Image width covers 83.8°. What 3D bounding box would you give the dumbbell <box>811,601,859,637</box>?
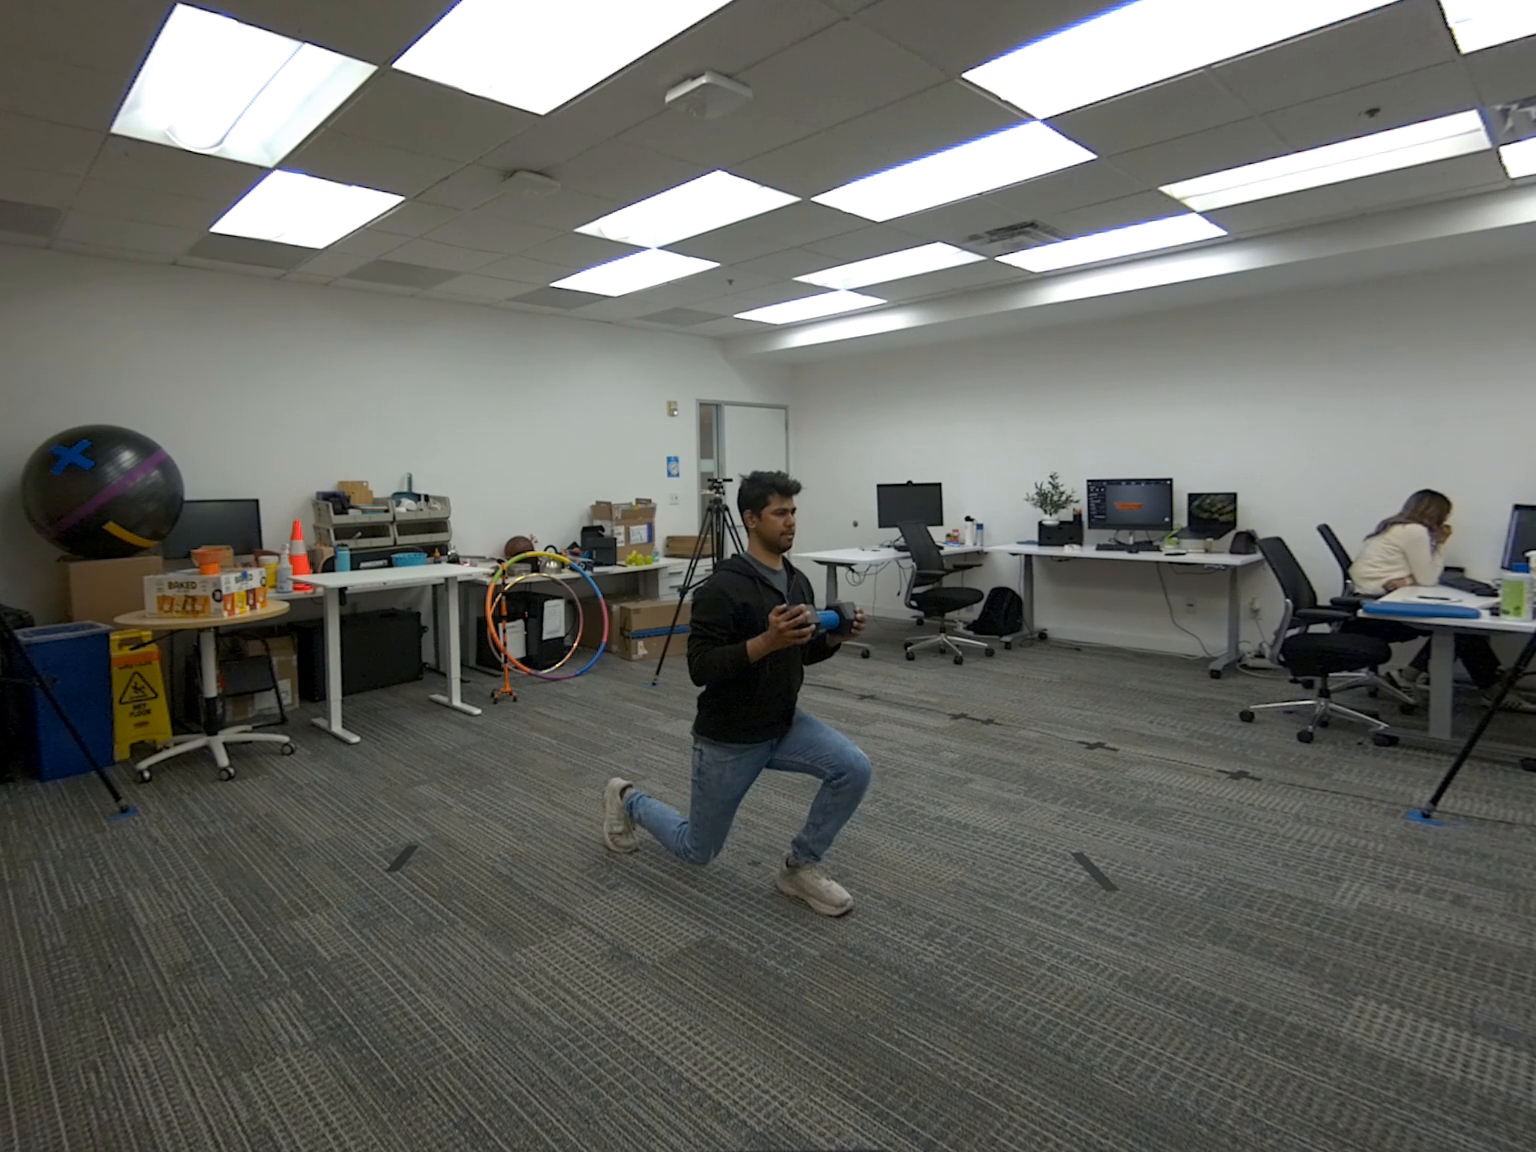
[{"bbox_3d":[0.149,0.141,2.726,0.285,0.122,0.113,-3,28,-46],"label":"dumbbell"}]
